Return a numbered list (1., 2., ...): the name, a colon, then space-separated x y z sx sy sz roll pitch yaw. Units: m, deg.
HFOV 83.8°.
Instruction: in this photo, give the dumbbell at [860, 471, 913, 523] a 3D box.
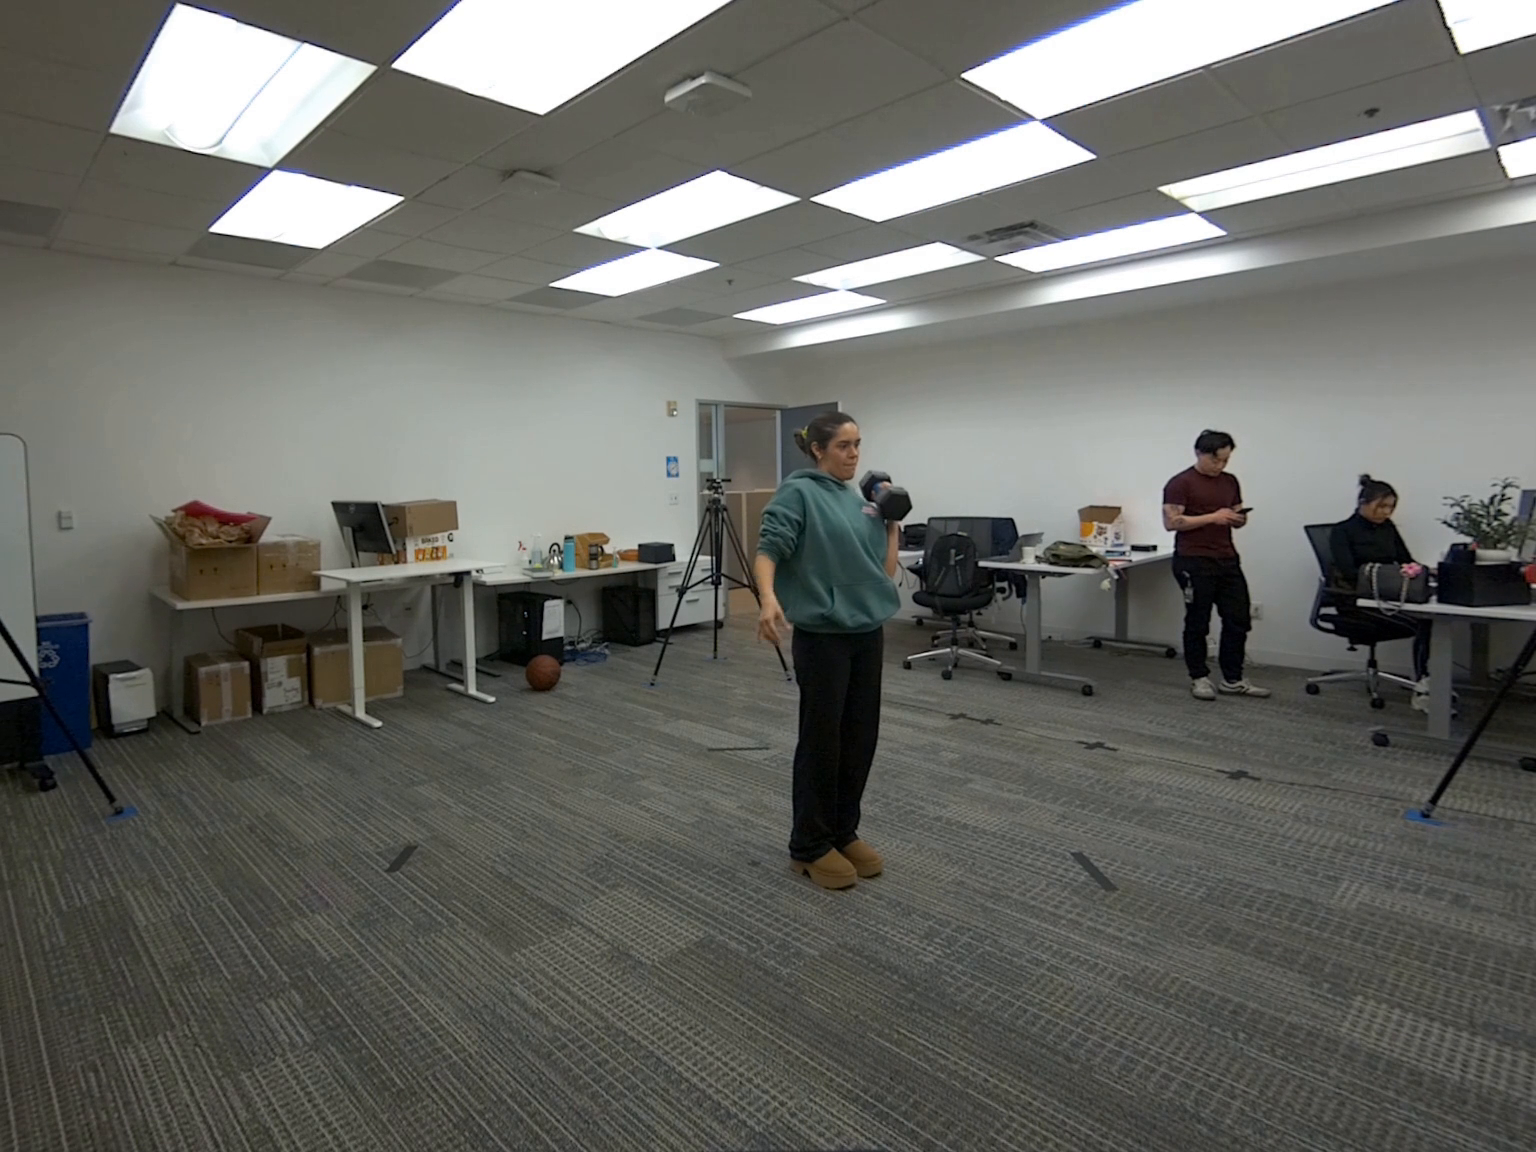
1. dumbbell: 0.406 -0.286 3.022 0.106 0.123 0.300 36 12 -18
